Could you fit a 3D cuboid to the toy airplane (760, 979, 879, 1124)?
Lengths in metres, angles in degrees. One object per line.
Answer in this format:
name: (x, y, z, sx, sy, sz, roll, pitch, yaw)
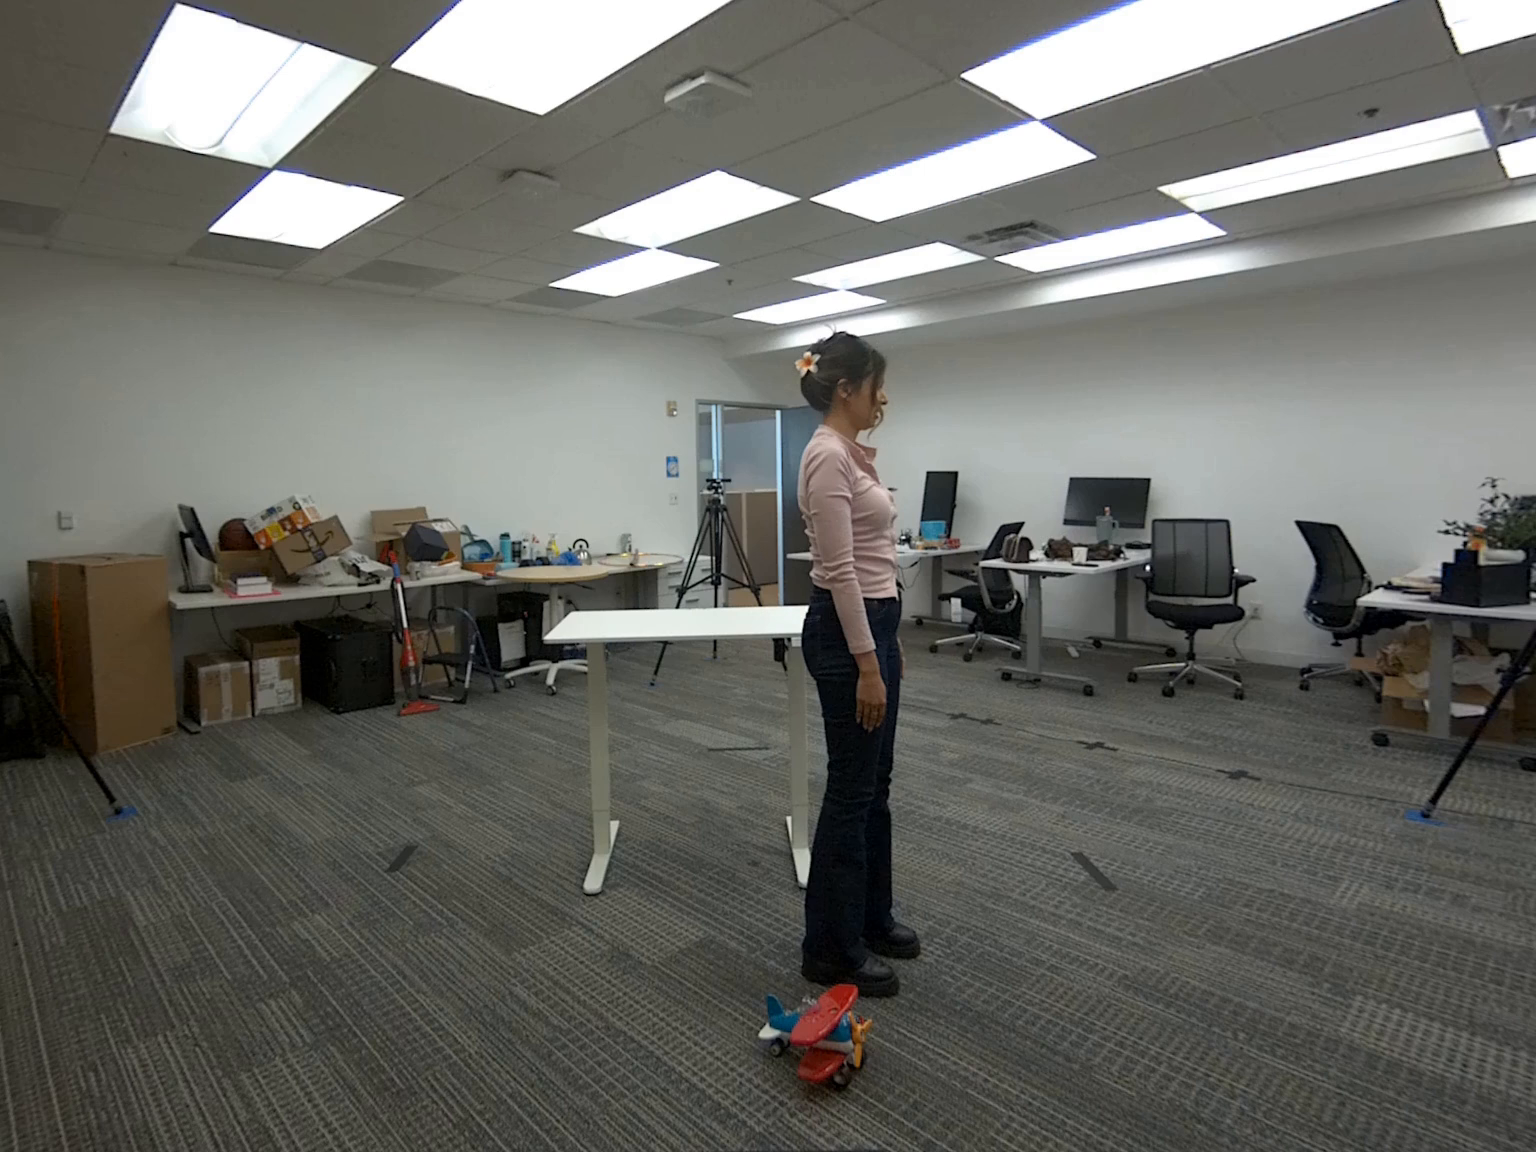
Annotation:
toy airplane: (0.120, 1.102, 2.009, 0.261, 0.155, 0.251, 0, 7, 6)
